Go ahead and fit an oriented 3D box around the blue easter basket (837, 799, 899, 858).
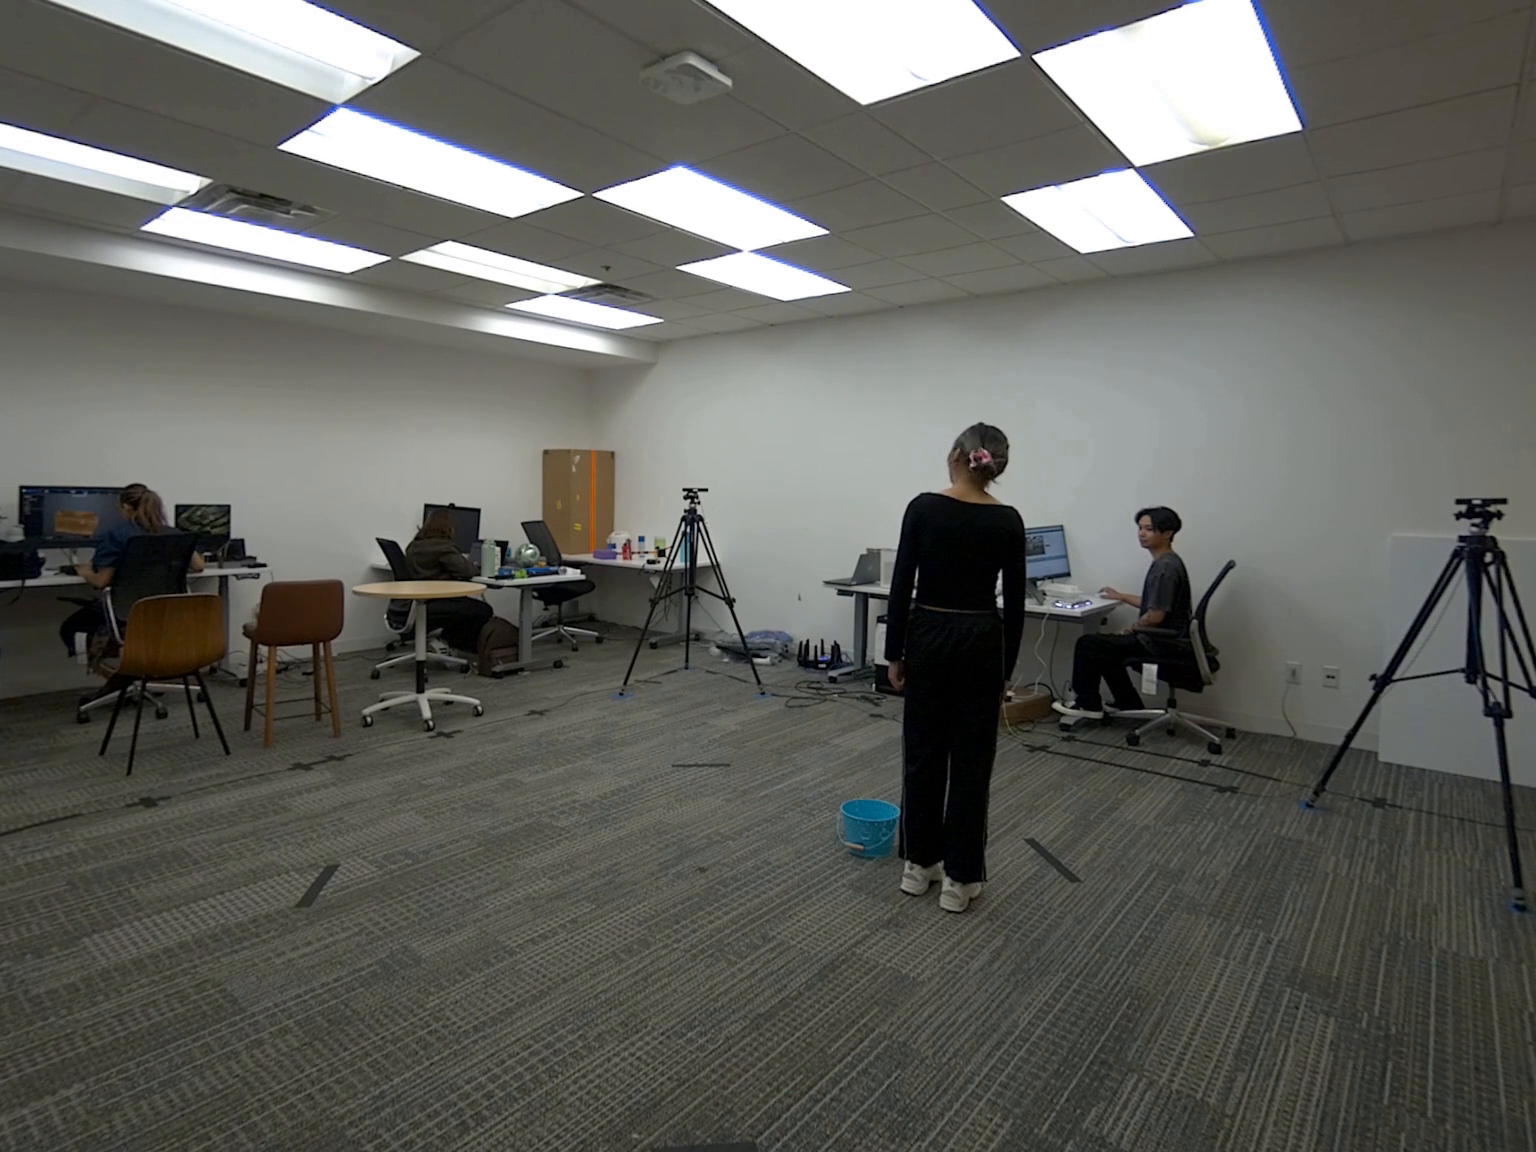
[{"bbox_3d":[0.388,0.985,3.332,0.243,0.155,0.245,0,5,-2],"label":"blue easter basket"}]
